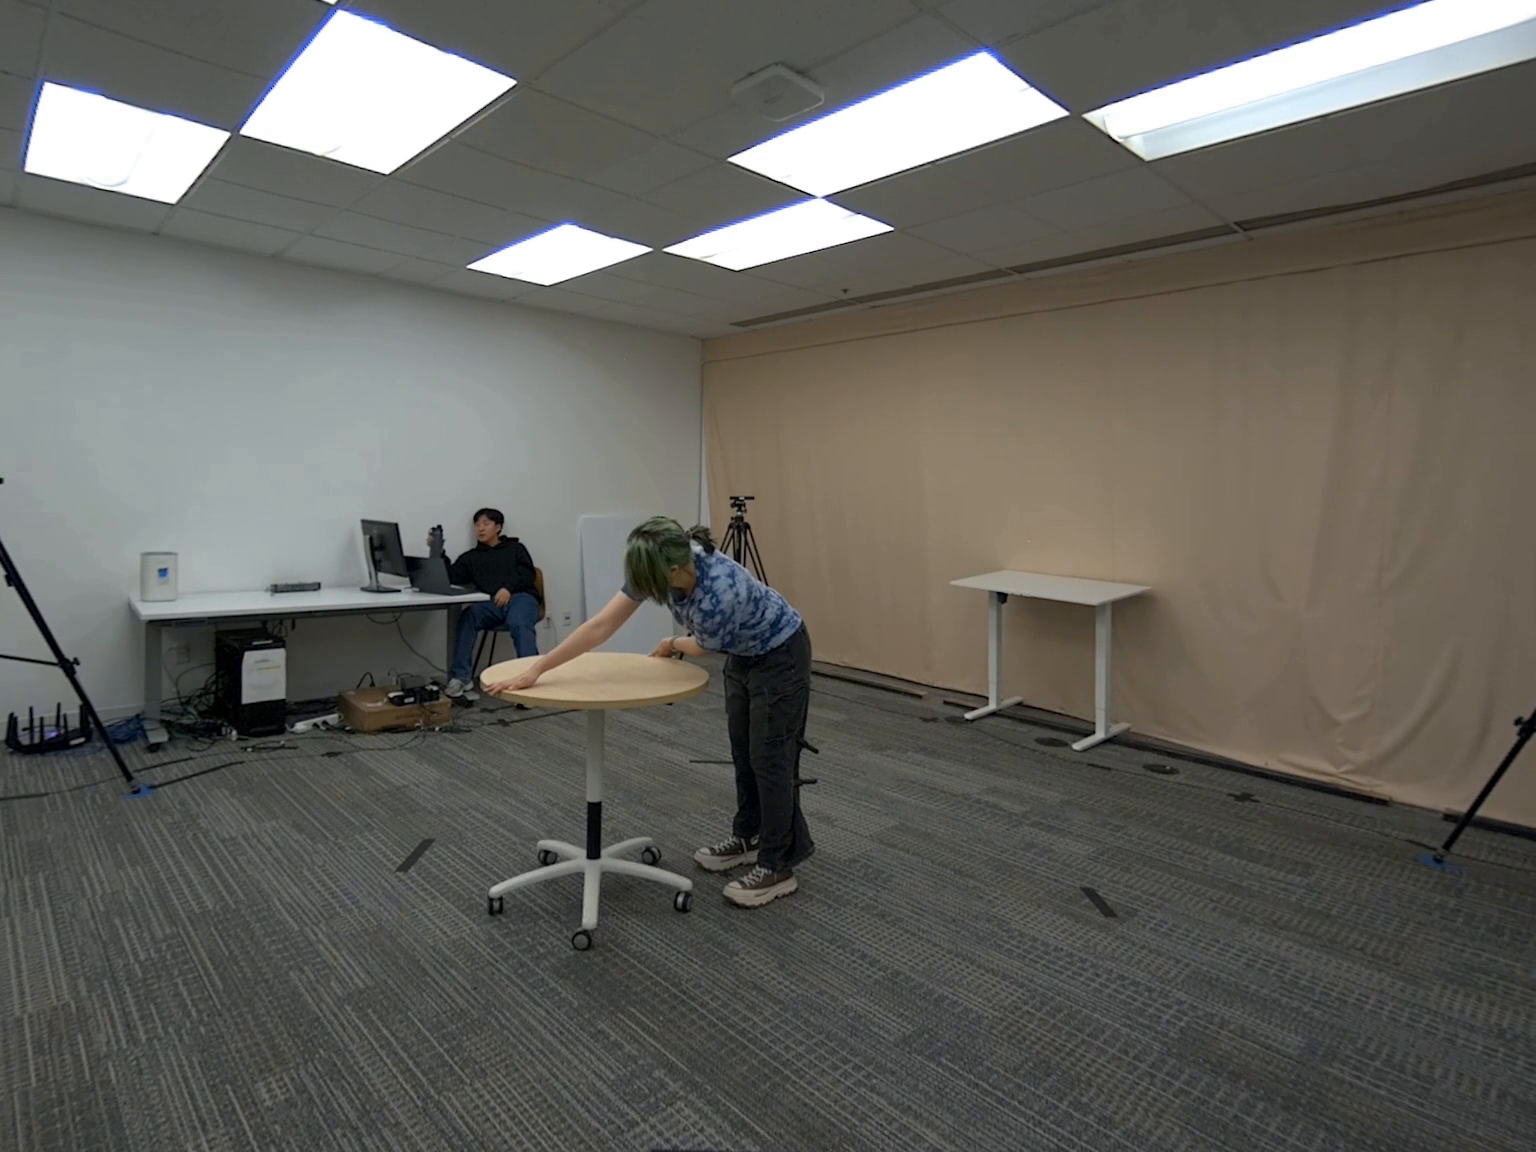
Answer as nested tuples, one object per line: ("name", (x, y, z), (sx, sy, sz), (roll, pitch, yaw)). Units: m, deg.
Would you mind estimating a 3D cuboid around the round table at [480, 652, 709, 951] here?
("round table", (-0.599, 0.727, 2.887), (0.763, 0.792, 0.766), (1, 4, -1))
